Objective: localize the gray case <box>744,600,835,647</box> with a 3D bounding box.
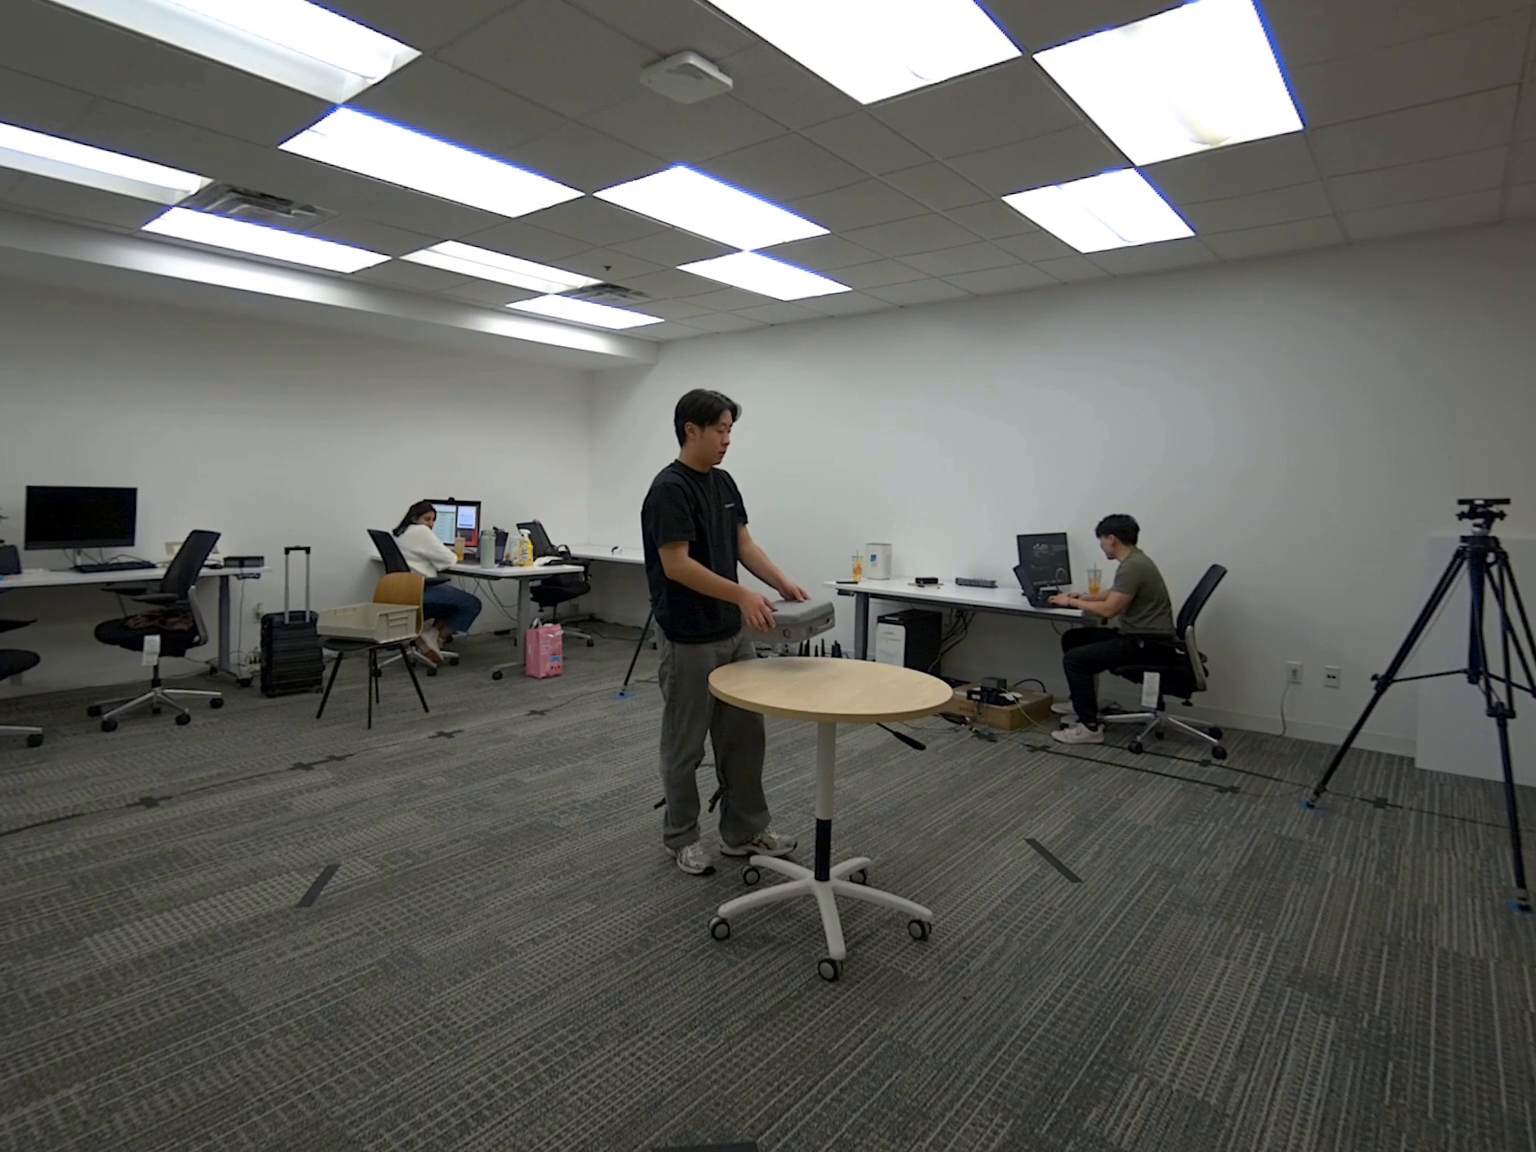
[{"bbox_3d":[0.077,0.156,2.969,0.296,0.102,0.257,0,10,39],"label":"gray case"}]
